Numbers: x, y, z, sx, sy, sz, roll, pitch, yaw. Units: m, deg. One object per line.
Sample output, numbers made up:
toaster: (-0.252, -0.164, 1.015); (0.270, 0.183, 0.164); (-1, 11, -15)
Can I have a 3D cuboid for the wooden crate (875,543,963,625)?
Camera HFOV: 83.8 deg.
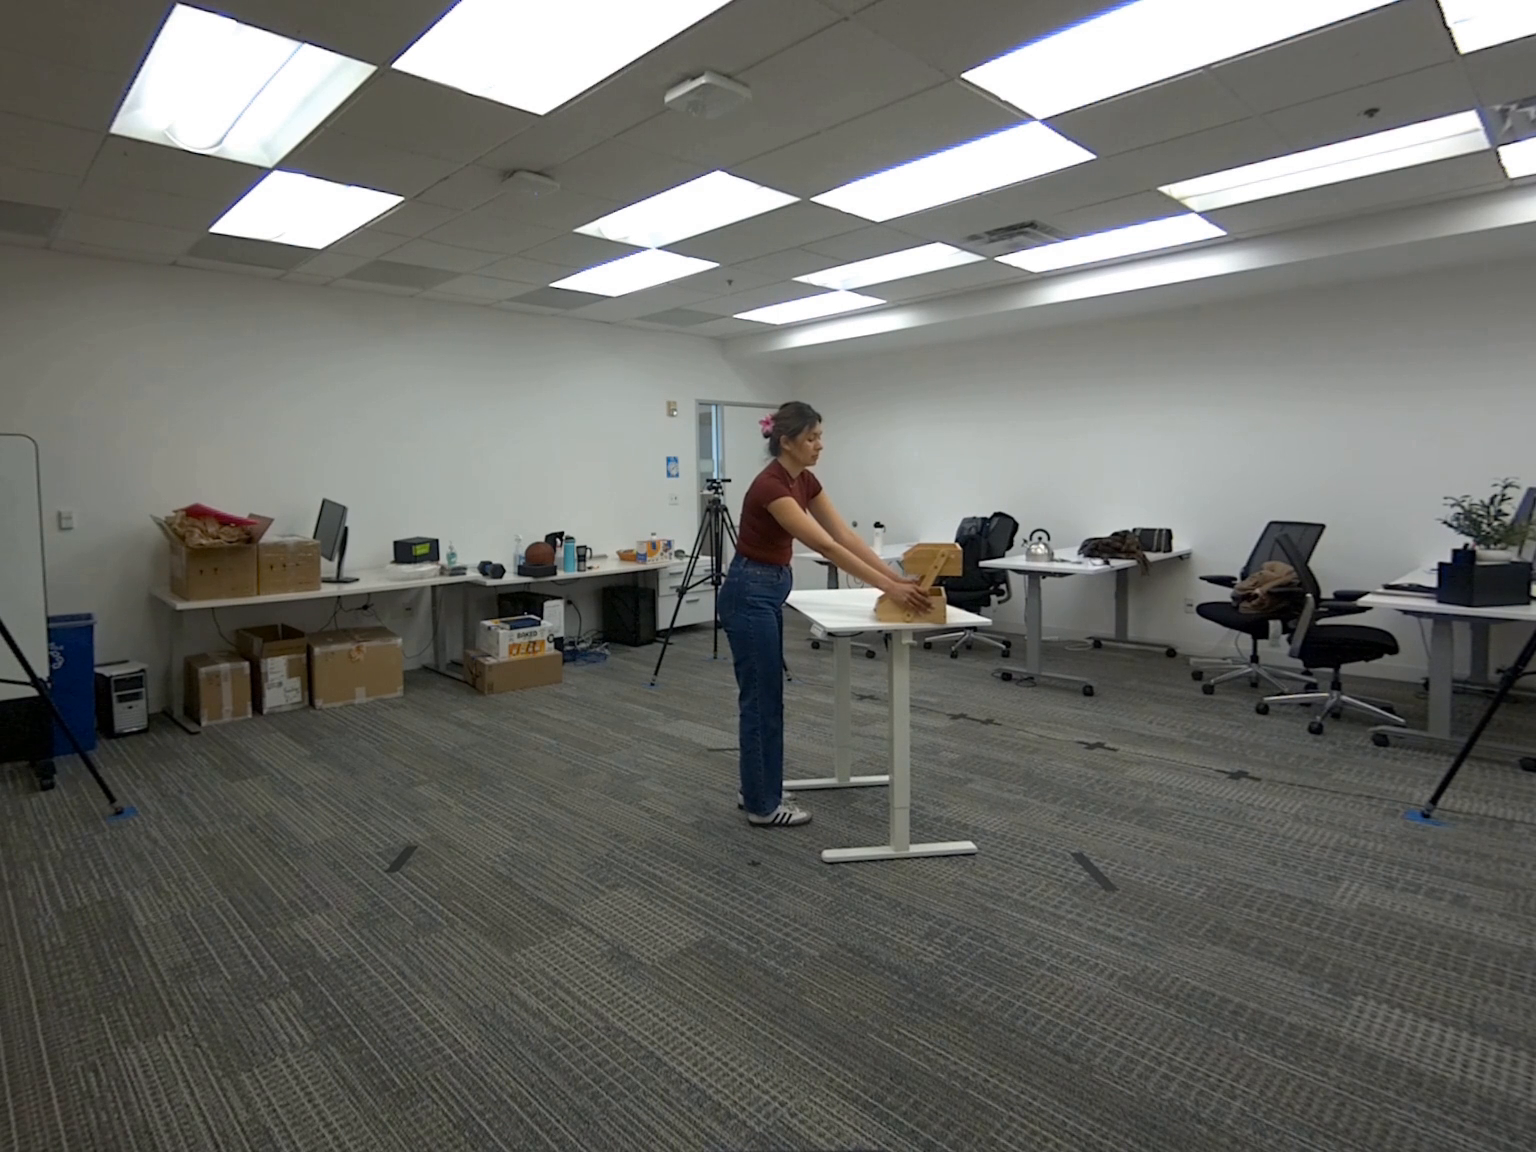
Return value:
wooden crate: (0.544, 0.018, 3.136); (0.306, 0.272, 0.322); (-1, 6, 12)
